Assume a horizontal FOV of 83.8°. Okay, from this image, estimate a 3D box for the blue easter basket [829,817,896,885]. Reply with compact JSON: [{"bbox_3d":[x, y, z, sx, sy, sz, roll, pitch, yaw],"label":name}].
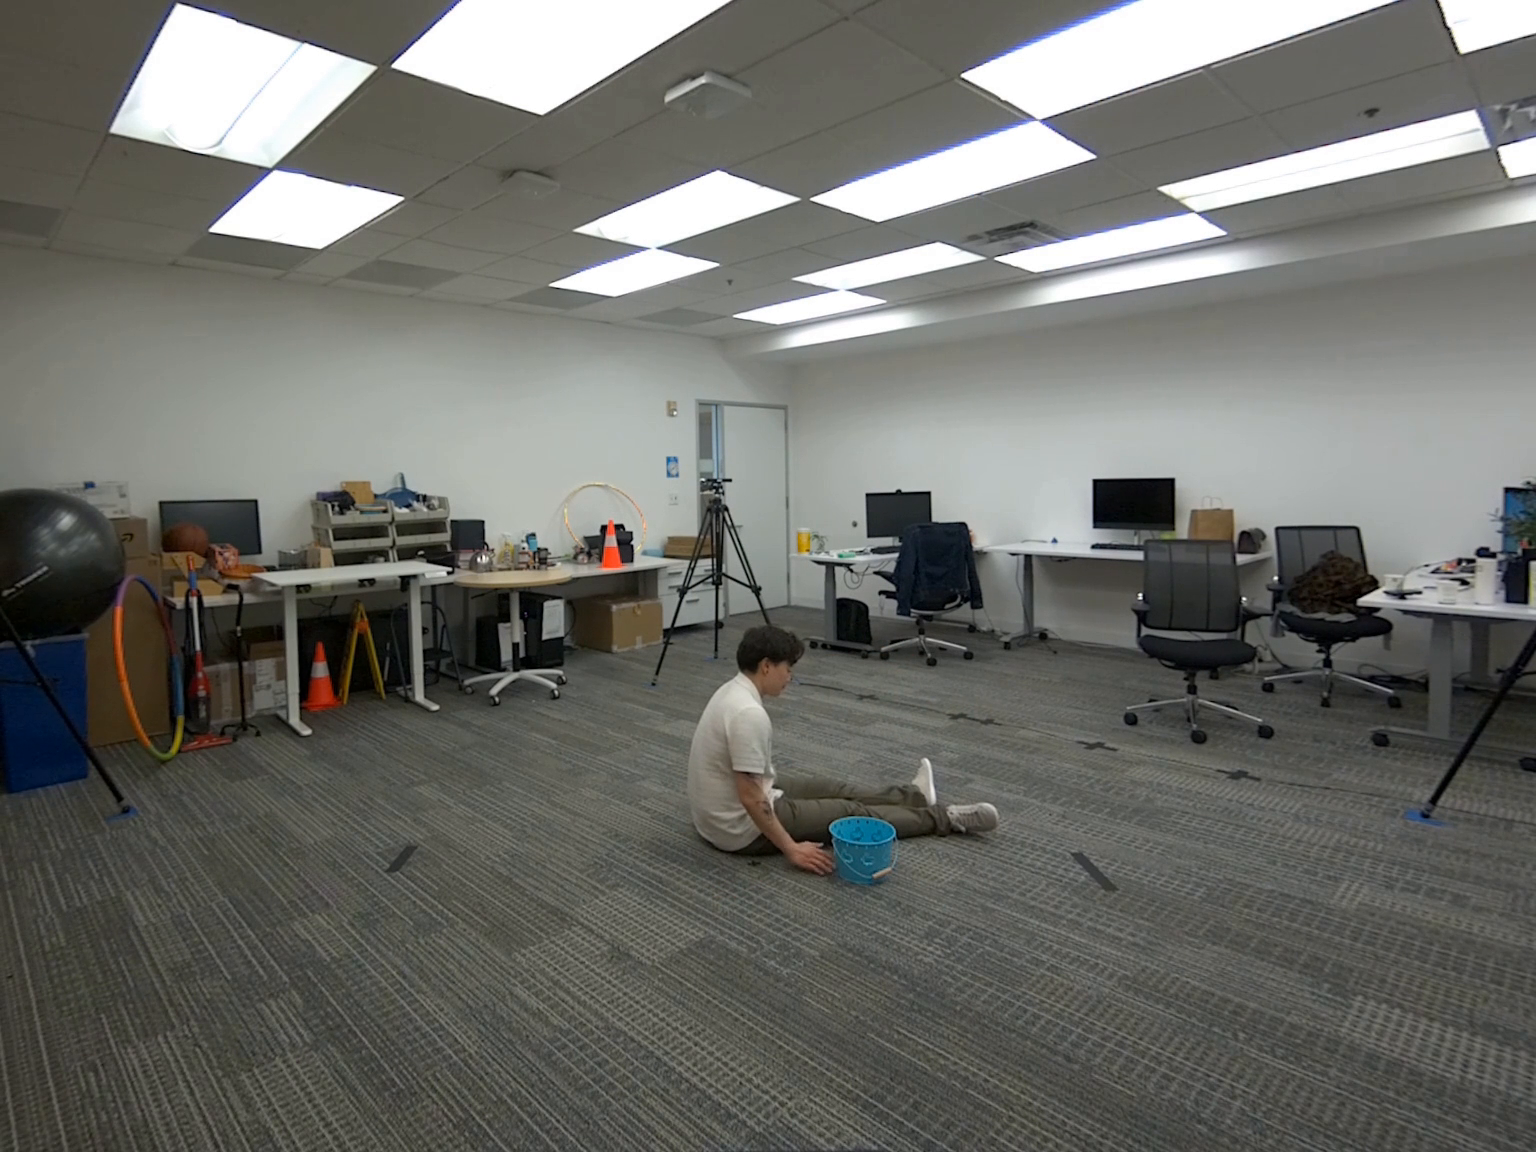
[{"bbox_3d":[0.338,0.970,3.012,0.243,0.155,0.245,-2,6,-2],"label":"blue easter basket"}]
